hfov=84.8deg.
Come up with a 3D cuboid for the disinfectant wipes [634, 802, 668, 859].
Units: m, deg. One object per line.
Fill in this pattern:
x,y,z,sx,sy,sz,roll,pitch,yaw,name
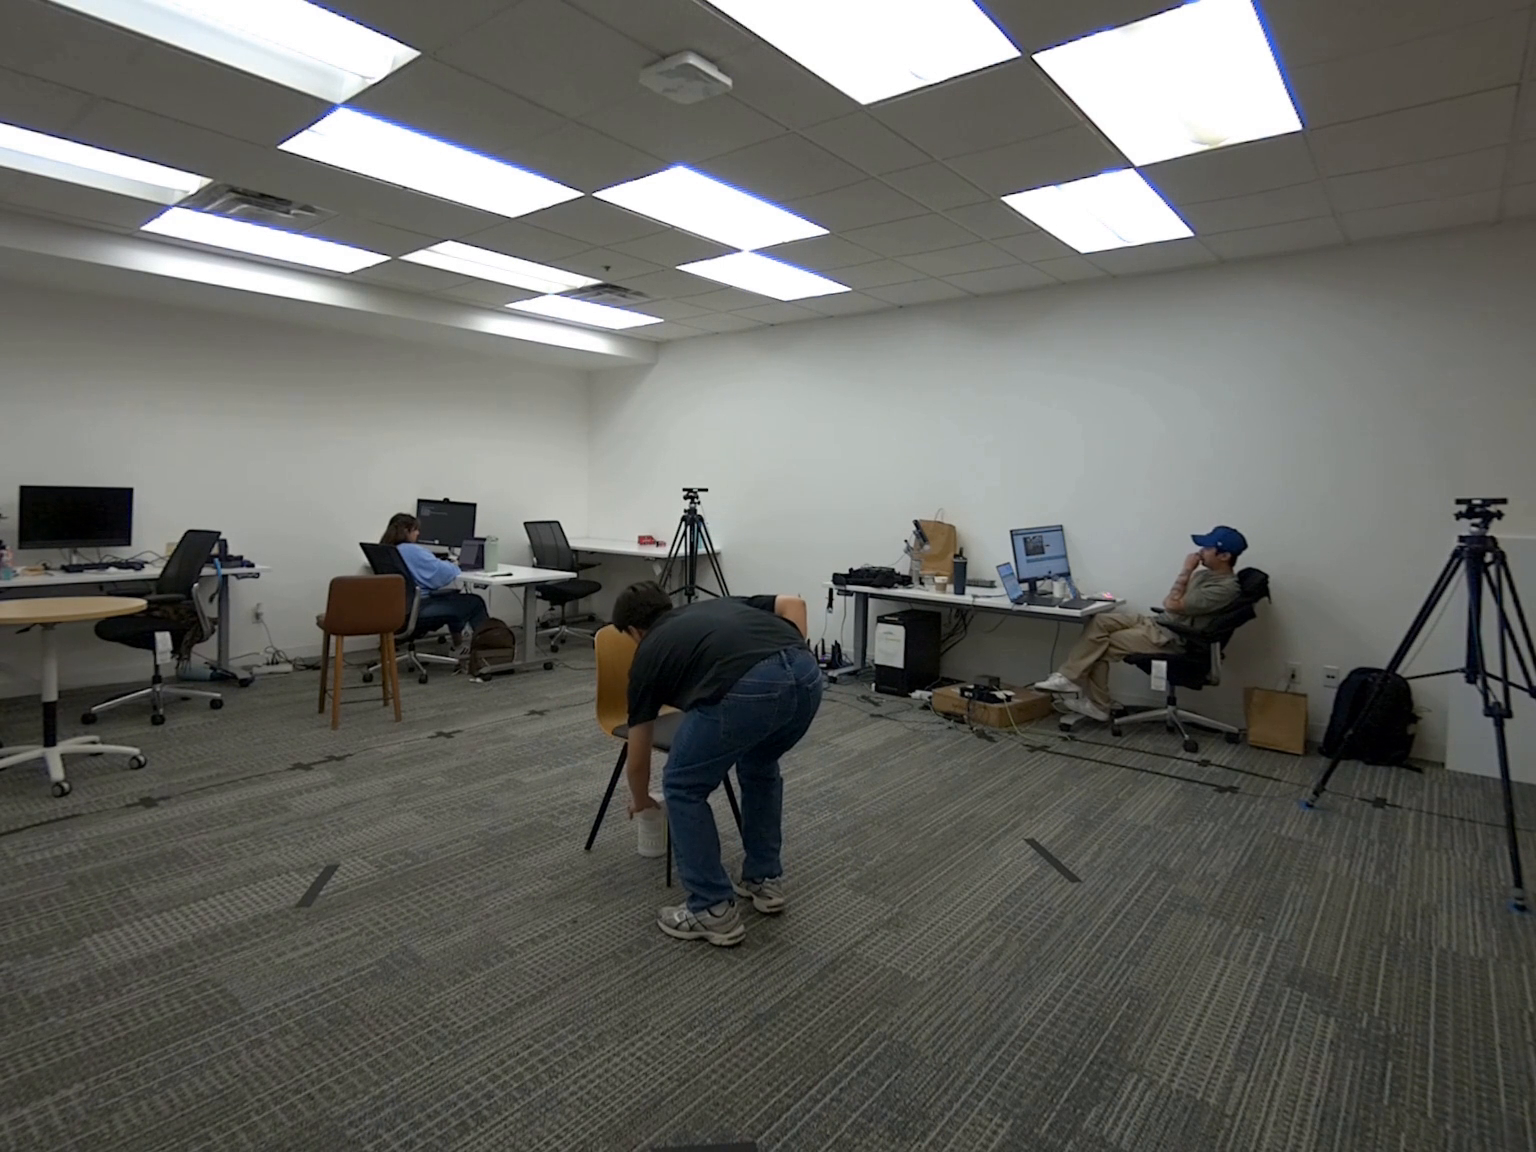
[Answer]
-0.449,0.947,3.239,0.117,0.217,0.118,2,2,-2,disinfectant wipes
